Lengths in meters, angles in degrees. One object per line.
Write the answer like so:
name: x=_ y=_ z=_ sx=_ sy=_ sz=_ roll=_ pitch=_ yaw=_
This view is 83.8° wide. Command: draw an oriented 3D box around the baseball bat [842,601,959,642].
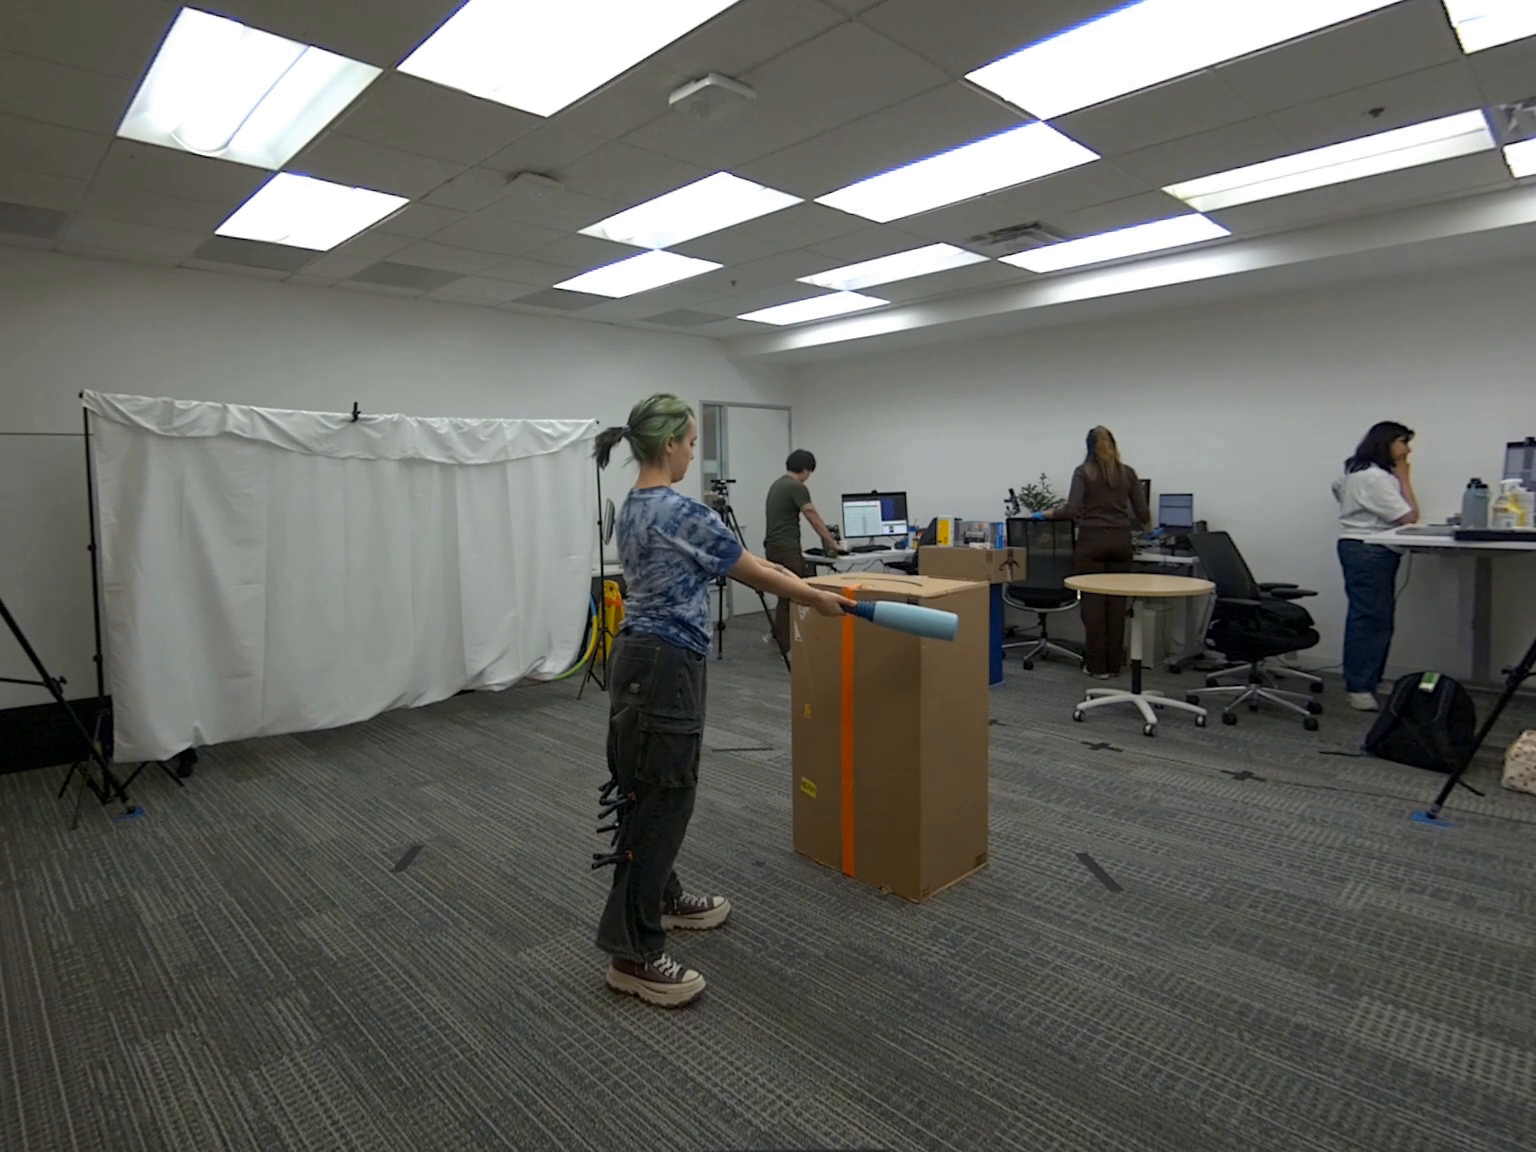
baseball bat: x=0.315 y=0.111 z=2.643 sx=0.552 sy=0.088 sz=0.088 roll=12 pitch=7 yaw=15
